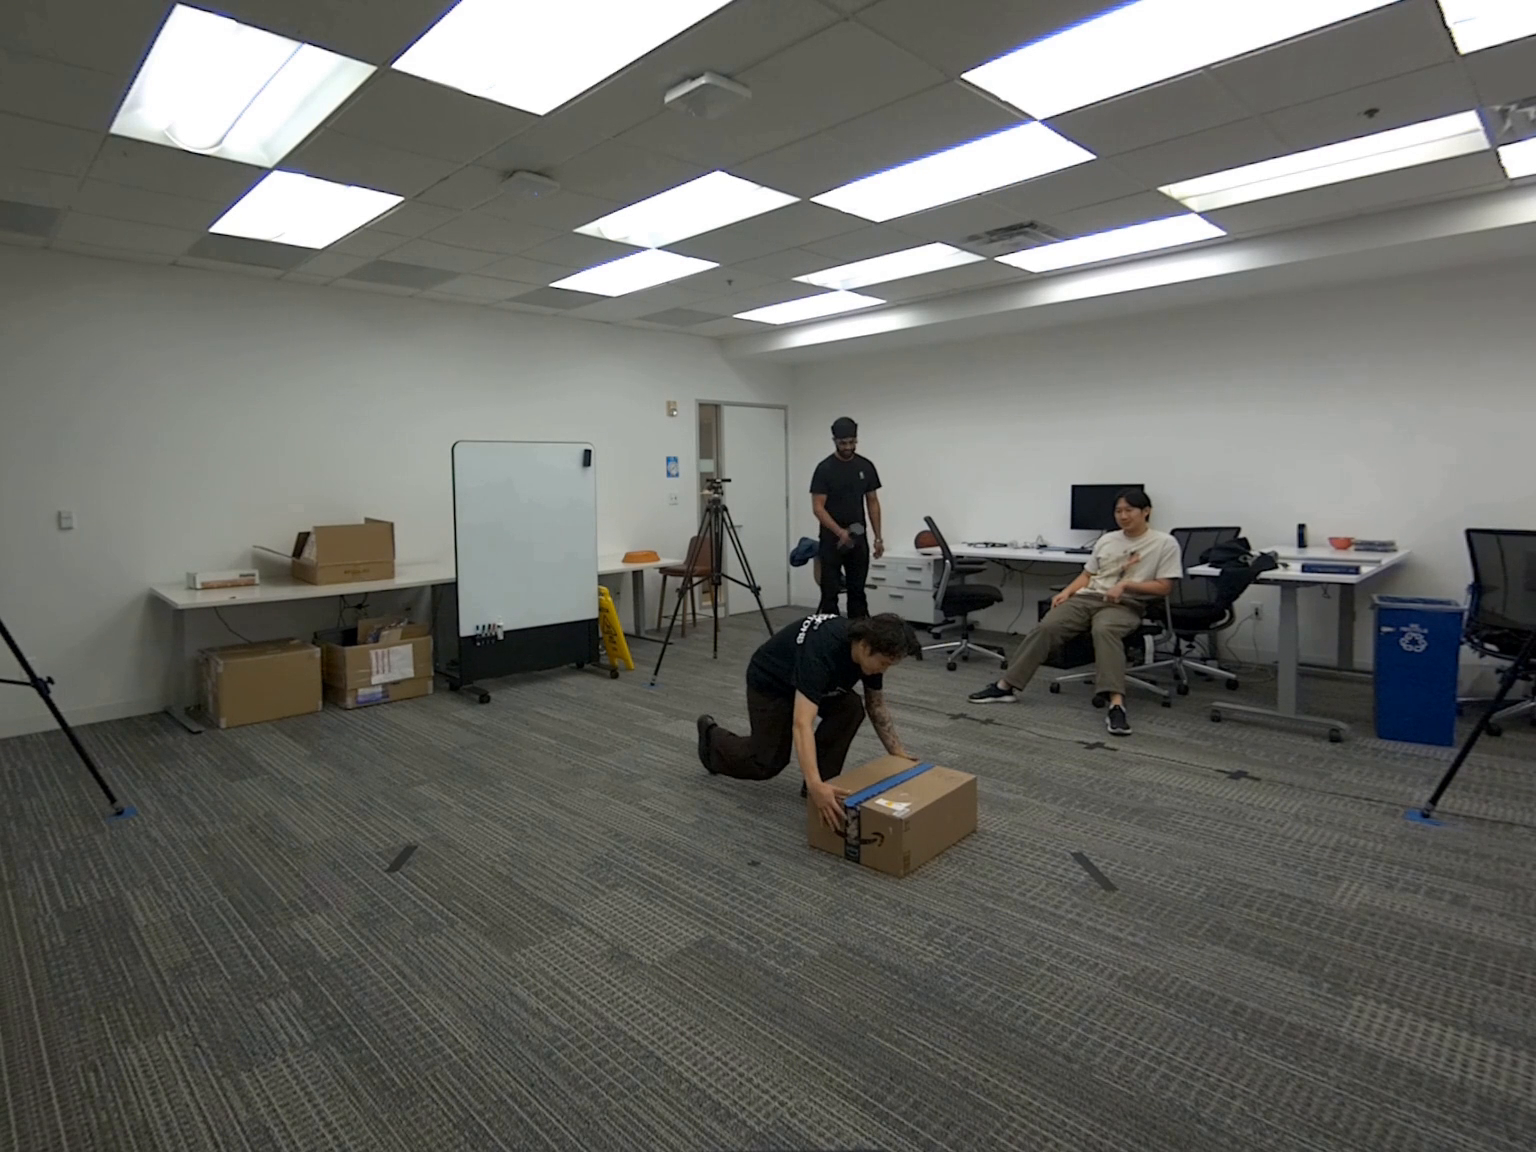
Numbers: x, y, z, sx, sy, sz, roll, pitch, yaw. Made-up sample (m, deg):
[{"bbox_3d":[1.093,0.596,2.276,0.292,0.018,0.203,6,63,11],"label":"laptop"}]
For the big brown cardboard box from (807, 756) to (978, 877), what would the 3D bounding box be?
[{"bbox_3d":[0.482,0.904,3.295,0.430,0.232,0.573,4,7,41],"label":"big brown cardboard box"}]
